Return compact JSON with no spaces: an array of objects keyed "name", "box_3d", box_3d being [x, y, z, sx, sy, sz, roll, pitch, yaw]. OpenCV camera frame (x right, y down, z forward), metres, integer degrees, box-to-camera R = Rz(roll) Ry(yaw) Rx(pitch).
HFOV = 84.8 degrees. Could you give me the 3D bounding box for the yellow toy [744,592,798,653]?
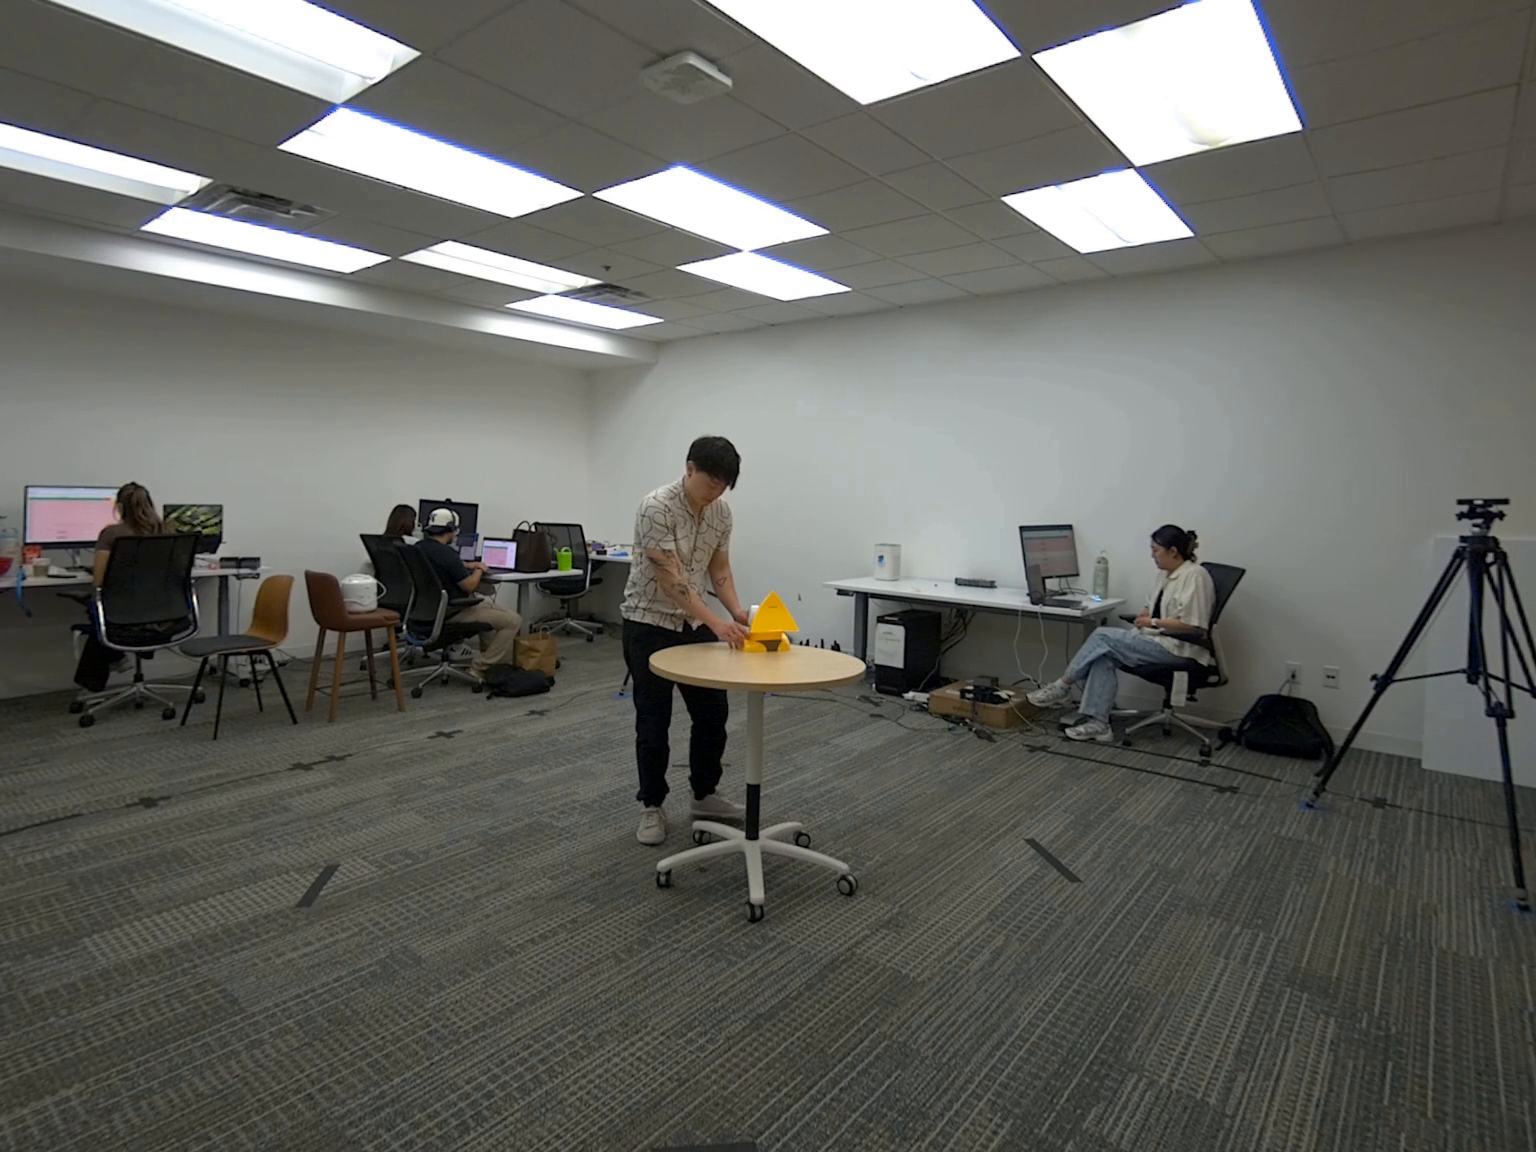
[{"name":"yellow toy","box_3d":[-0.024,0.162,3.275,0.200,0.230,0.198,0,3,-25]}]
